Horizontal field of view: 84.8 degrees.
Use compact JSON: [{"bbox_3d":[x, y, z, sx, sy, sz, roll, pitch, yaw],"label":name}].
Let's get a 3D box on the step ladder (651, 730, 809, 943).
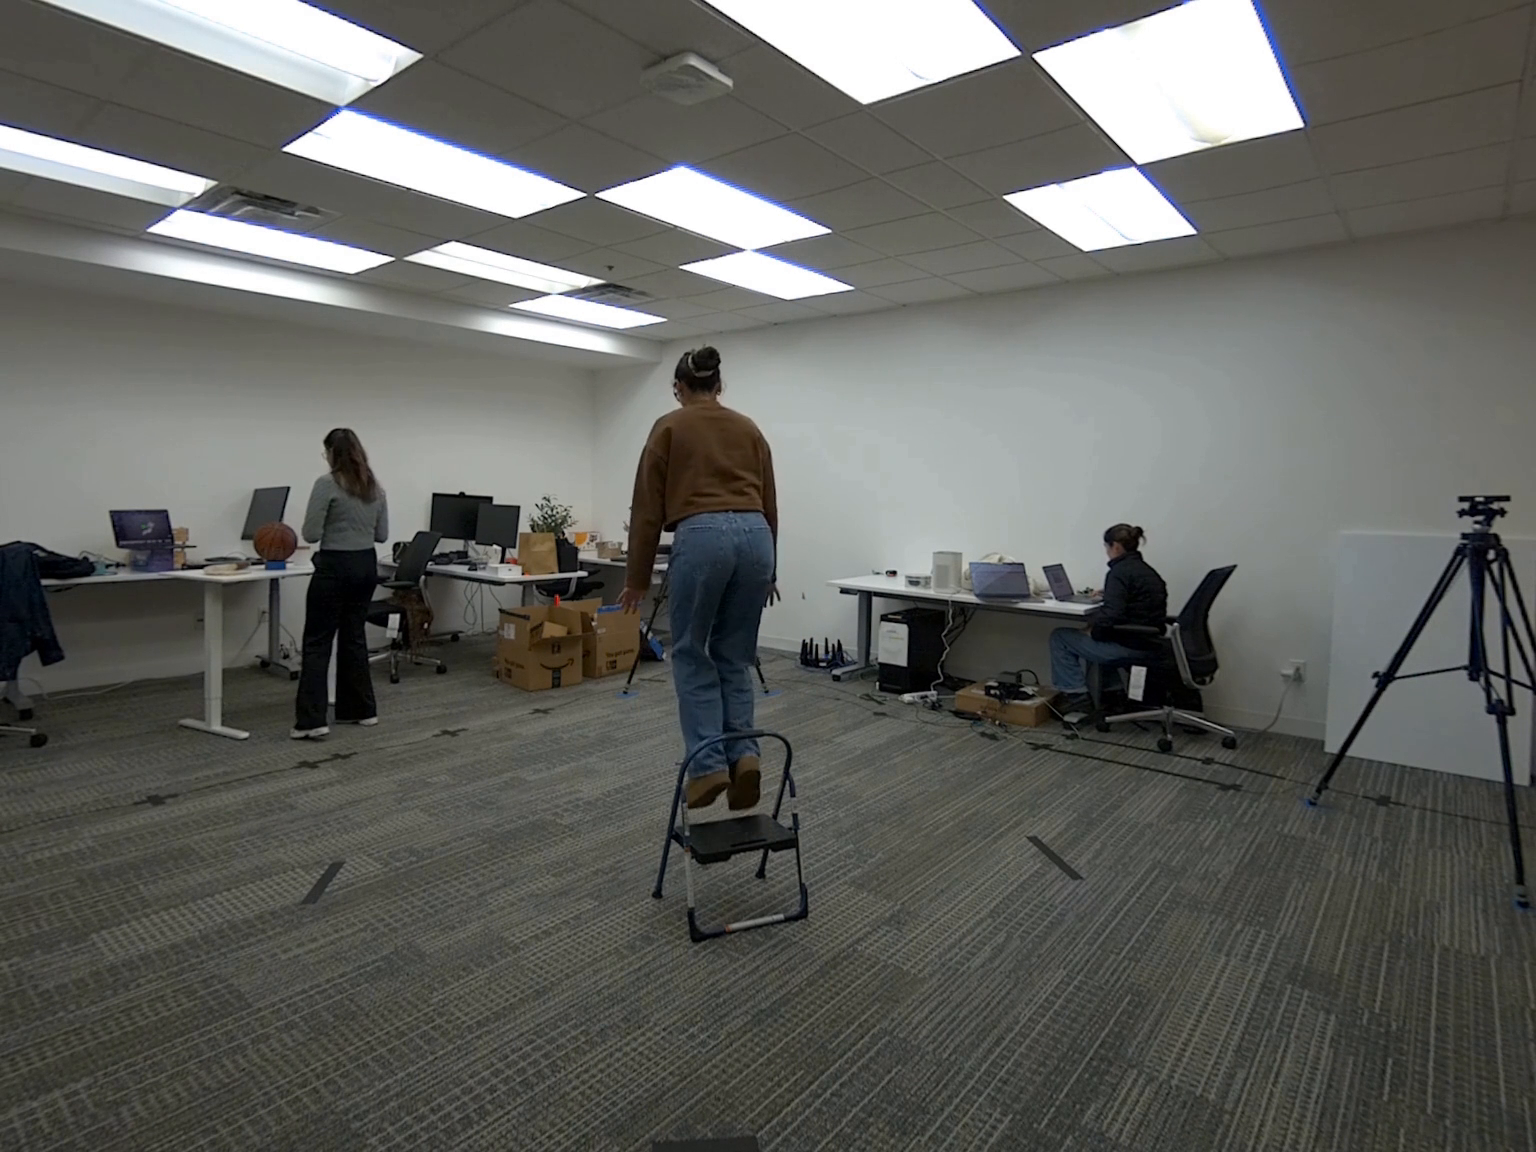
[{"bbox_3d":[-0.131,0.795,2.814,0.420,0.604,0.359,-1,4,-27],"label":"step ladder"}]
